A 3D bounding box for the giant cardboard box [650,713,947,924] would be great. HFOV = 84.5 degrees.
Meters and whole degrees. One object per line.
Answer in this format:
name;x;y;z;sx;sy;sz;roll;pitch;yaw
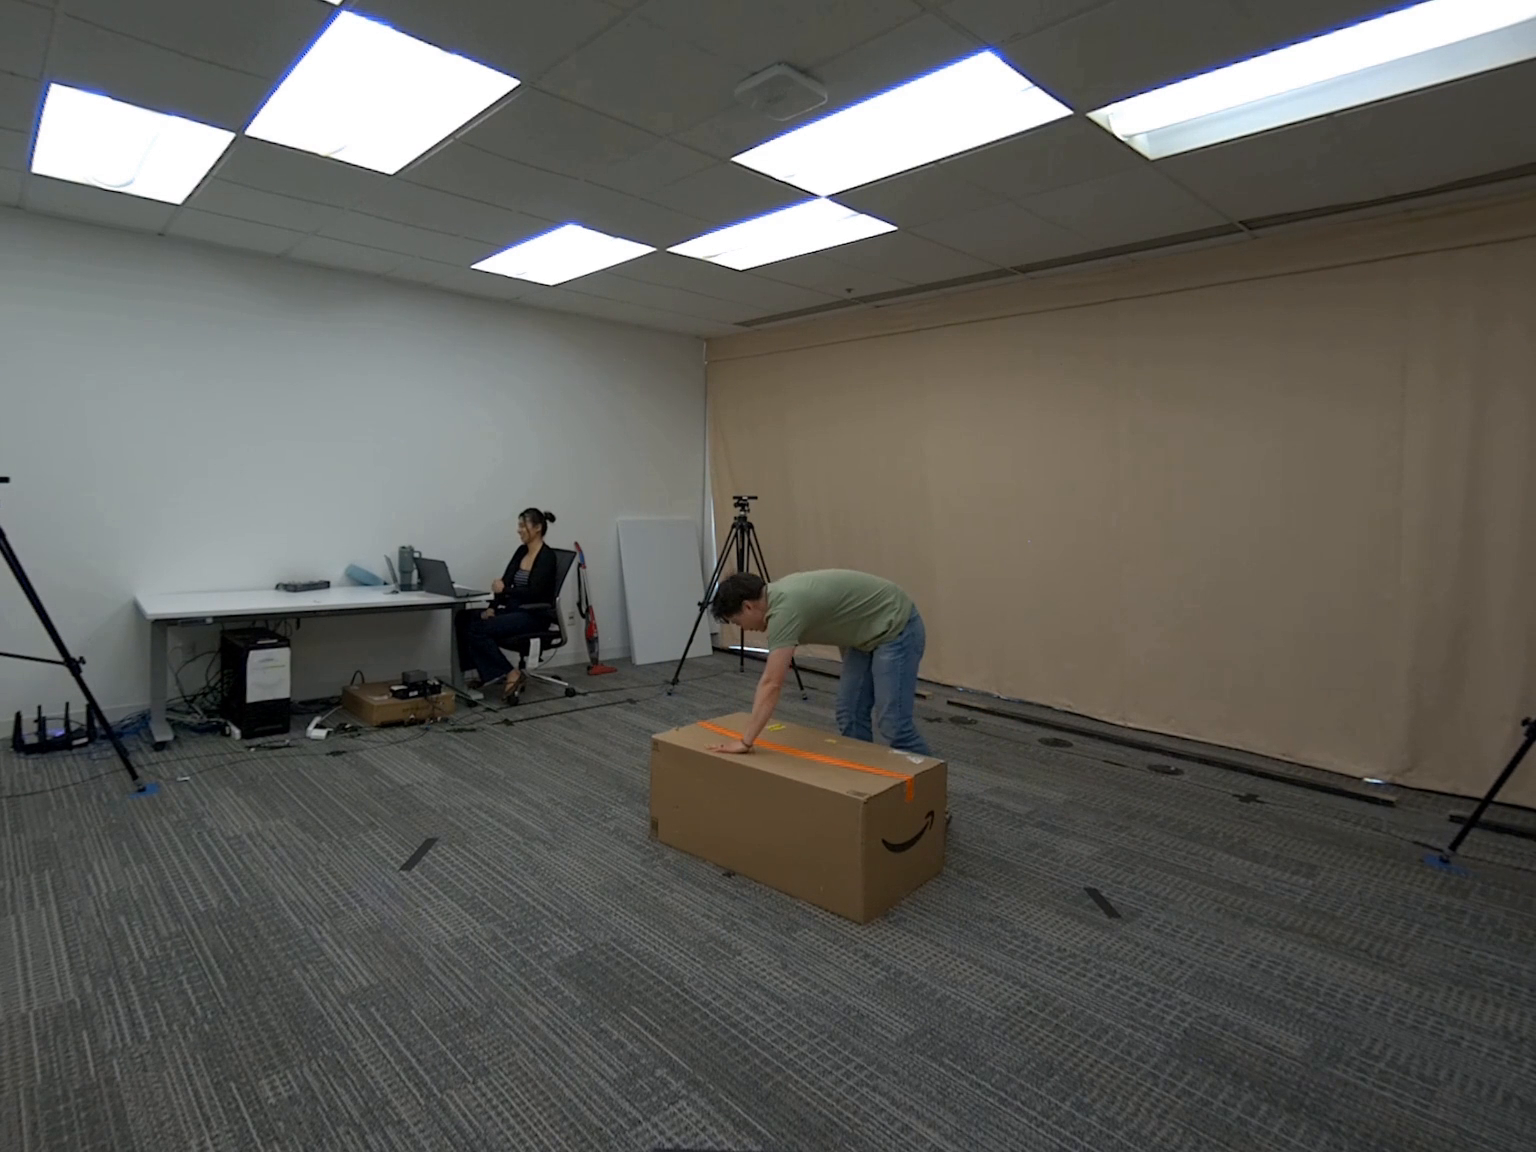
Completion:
giant cardboard box;0.088;0.882;3.286;1.052;0.425;0.564;5;5;40
